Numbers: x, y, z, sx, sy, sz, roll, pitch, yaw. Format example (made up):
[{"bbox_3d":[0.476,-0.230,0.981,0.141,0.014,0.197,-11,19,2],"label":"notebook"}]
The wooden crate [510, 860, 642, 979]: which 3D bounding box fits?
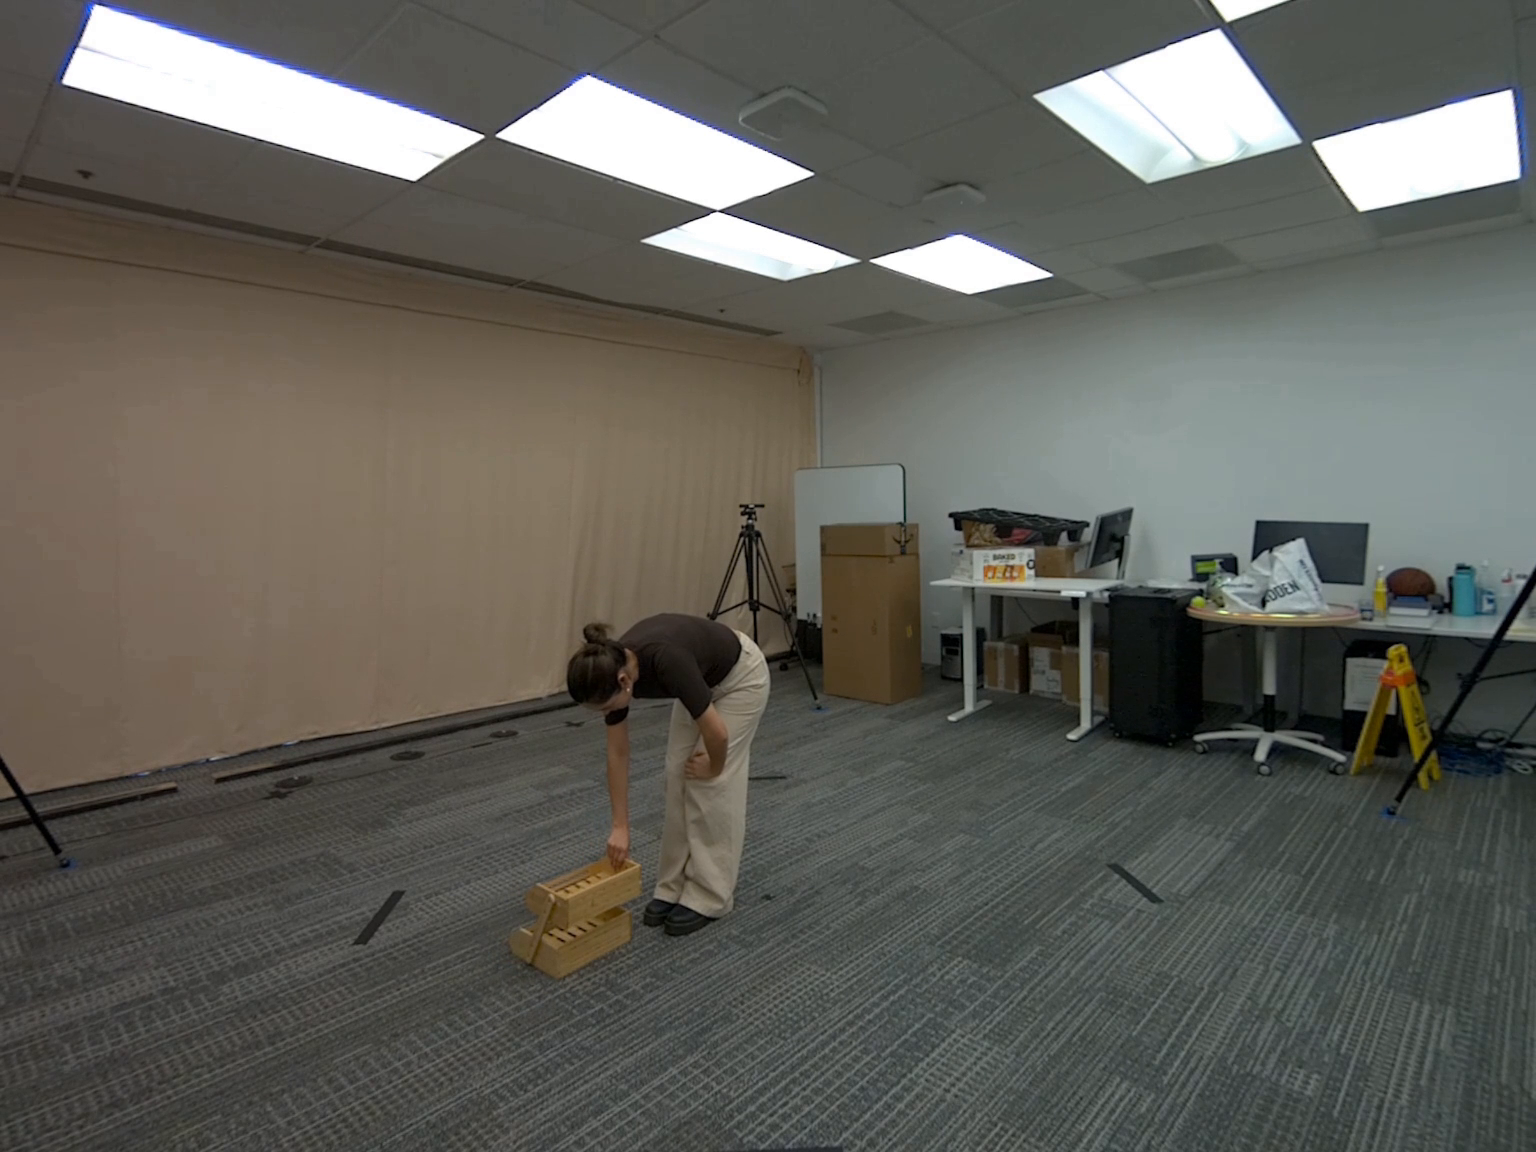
[{"bbox_3d":[-0.609,1.047,2.658,0.312,0.272,0.315,3,6,41],"label":"wooden crate"}]
